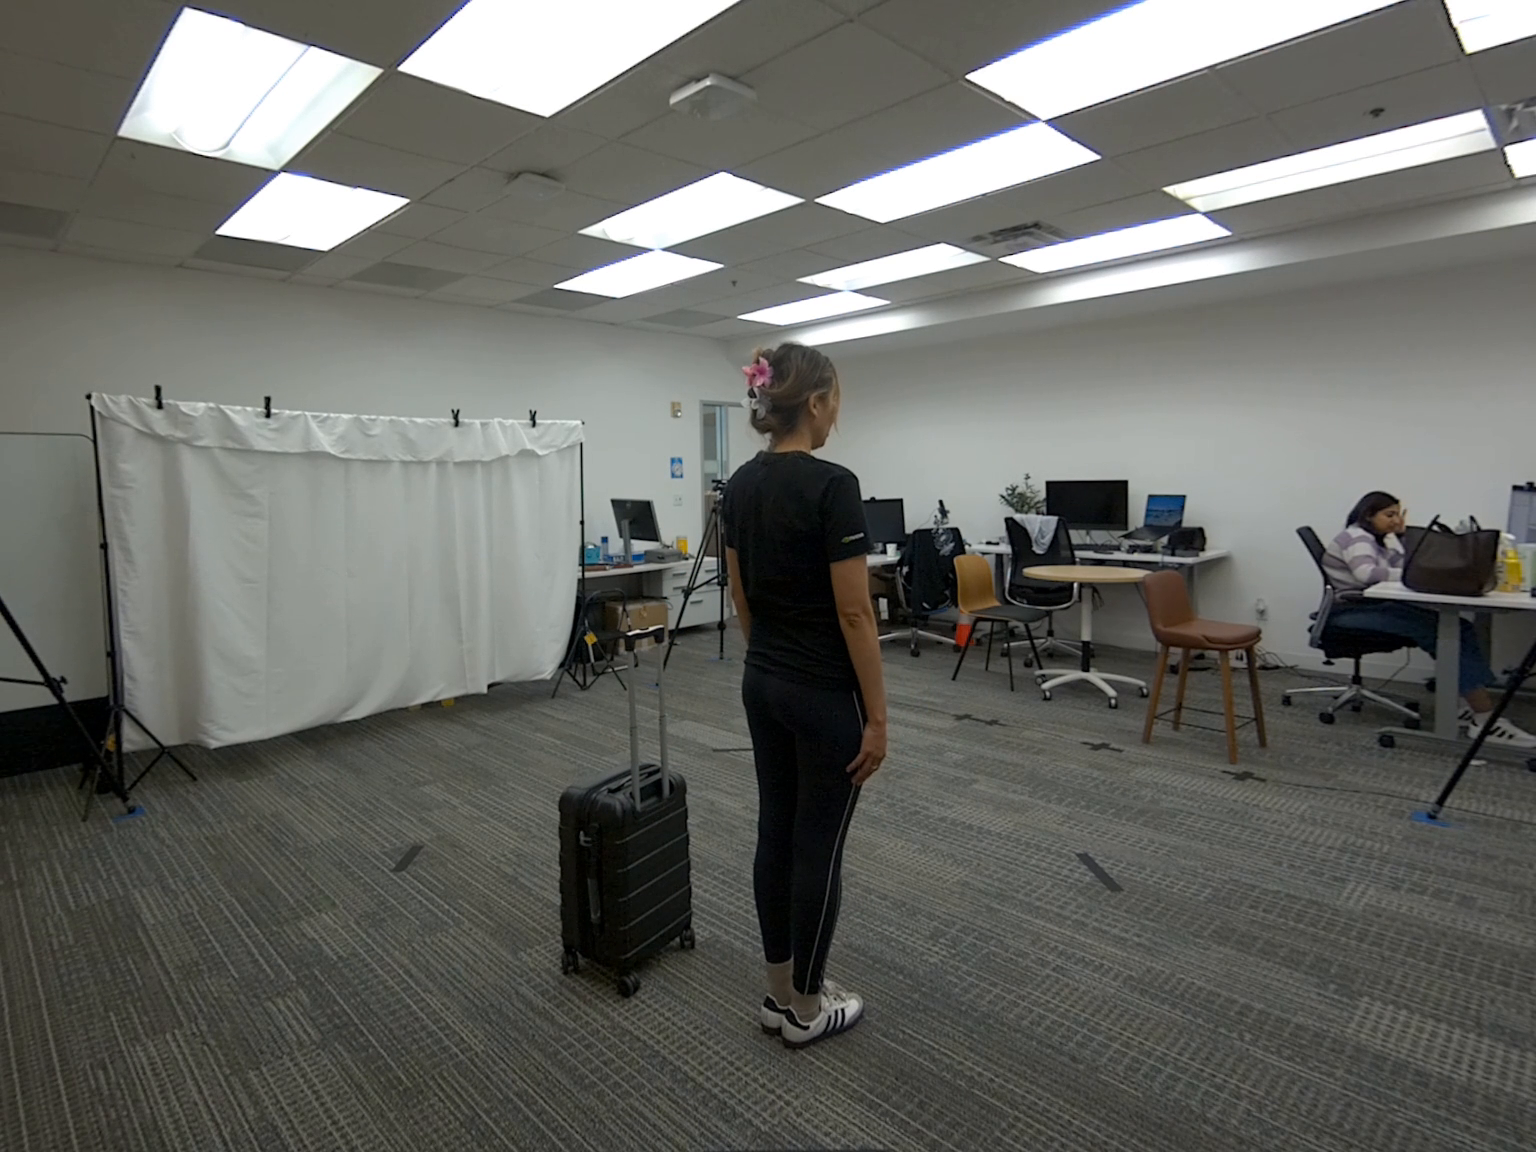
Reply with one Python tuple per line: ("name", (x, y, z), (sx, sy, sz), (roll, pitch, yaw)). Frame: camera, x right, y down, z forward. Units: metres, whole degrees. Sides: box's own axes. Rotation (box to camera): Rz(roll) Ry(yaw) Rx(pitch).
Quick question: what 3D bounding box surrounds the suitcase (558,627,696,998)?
("suitcase", (-0.424, 0.647, 2.499), (0.264, 0.976, 0.375), (-1, 3, 32))
